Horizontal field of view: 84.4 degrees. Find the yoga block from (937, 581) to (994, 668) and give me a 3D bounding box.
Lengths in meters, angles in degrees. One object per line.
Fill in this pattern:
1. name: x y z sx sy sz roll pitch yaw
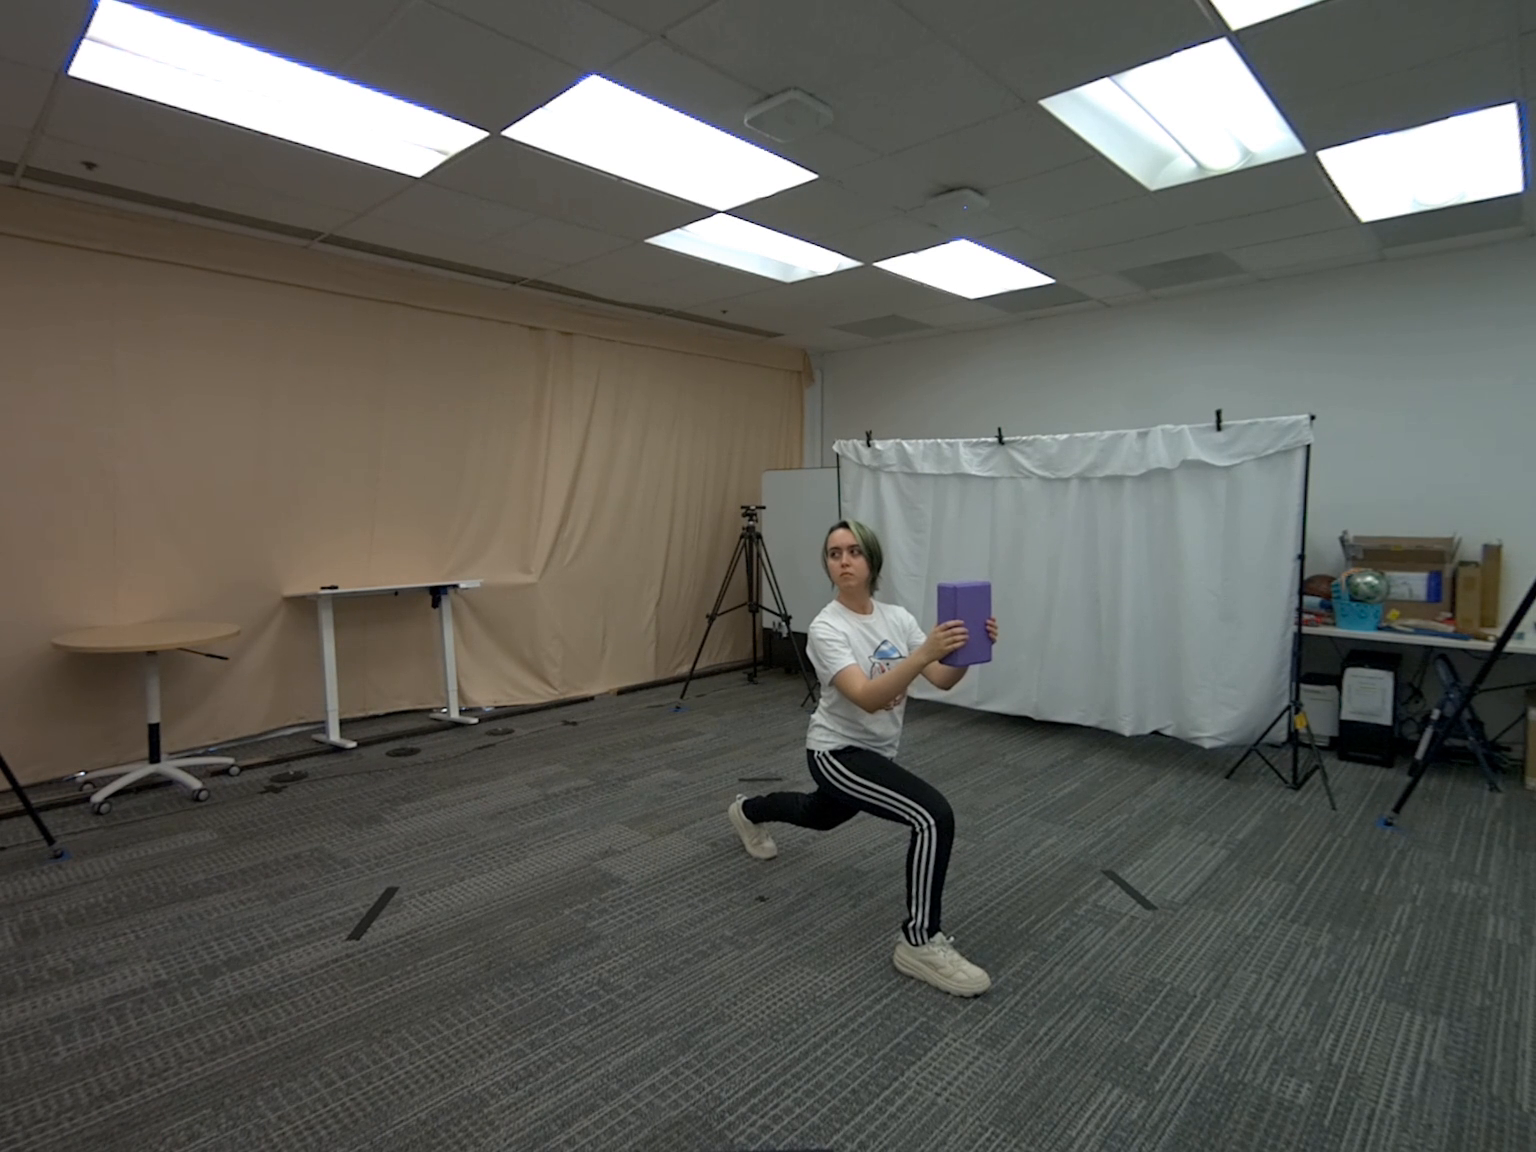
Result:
1. yoga block: 0.560 0.133 2.368 0.145 0.229 0.079 -4 4 -31
